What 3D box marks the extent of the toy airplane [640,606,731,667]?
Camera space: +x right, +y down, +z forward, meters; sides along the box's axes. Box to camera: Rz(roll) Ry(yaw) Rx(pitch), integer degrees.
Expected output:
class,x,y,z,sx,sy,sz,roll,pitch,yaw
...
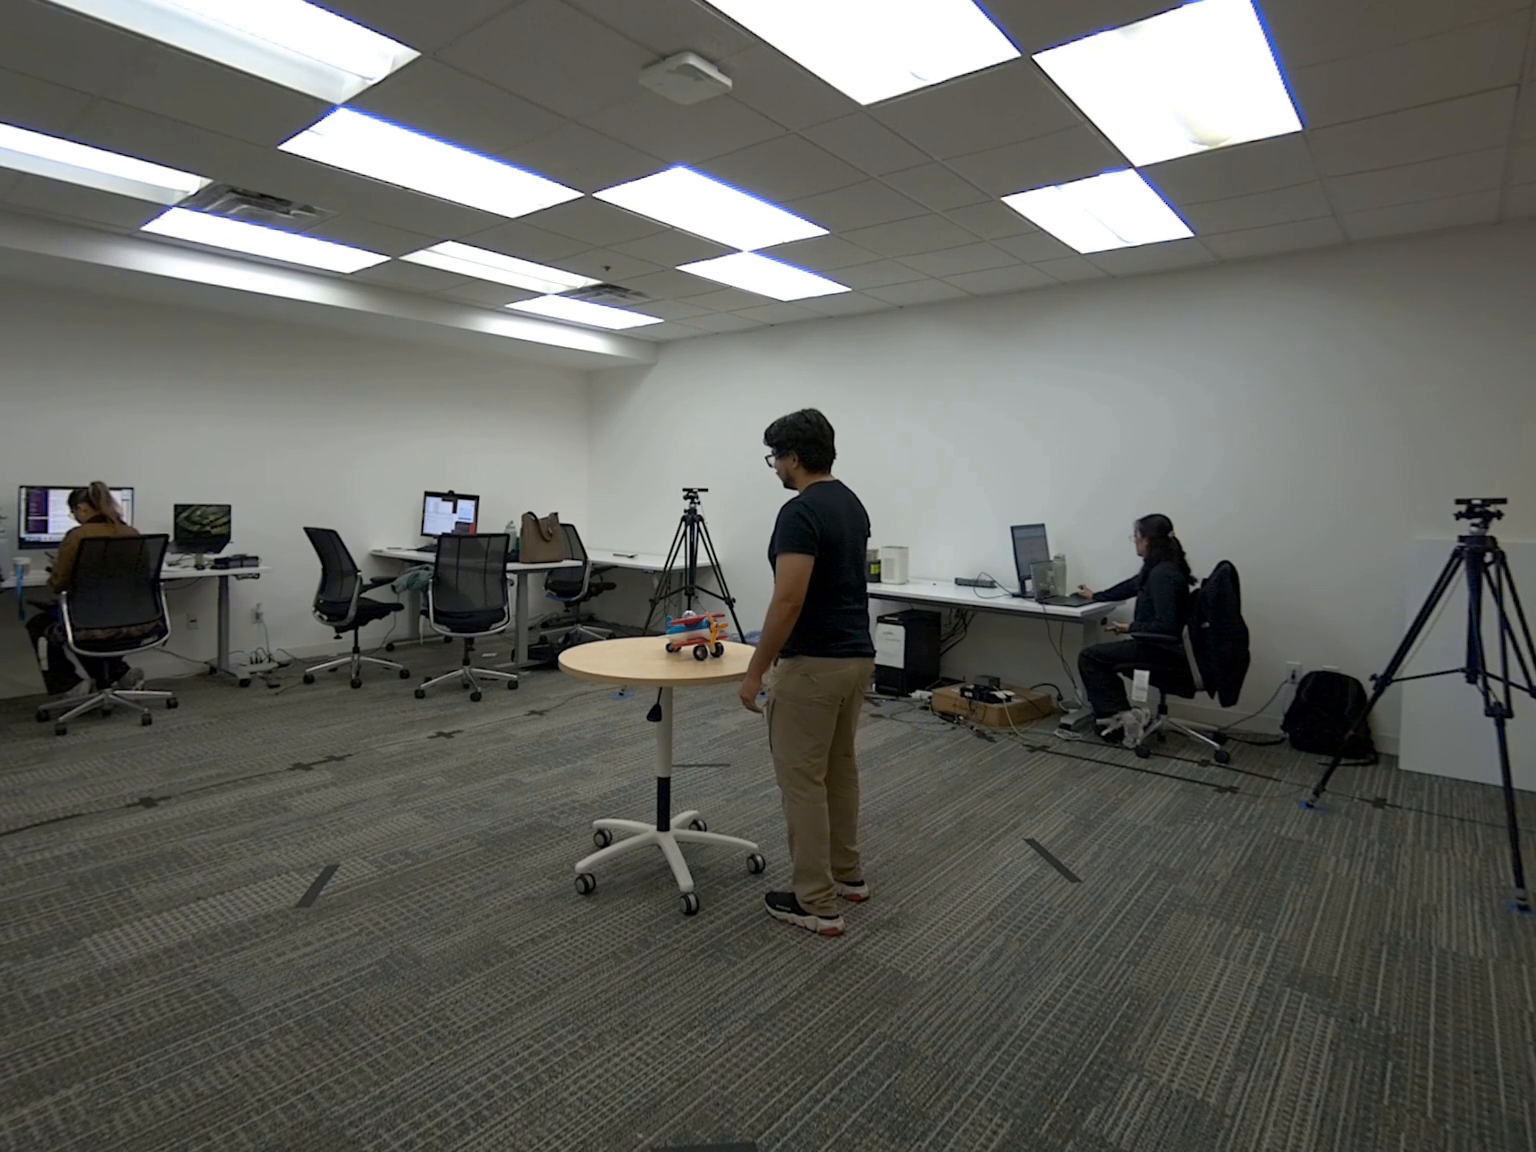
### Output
class,x,y,z,sx,sy,sz,roll,pitch,yaw
toy airplane,-0.300,0.213,3.072,0.263,0.156,0.248,4,6,13
